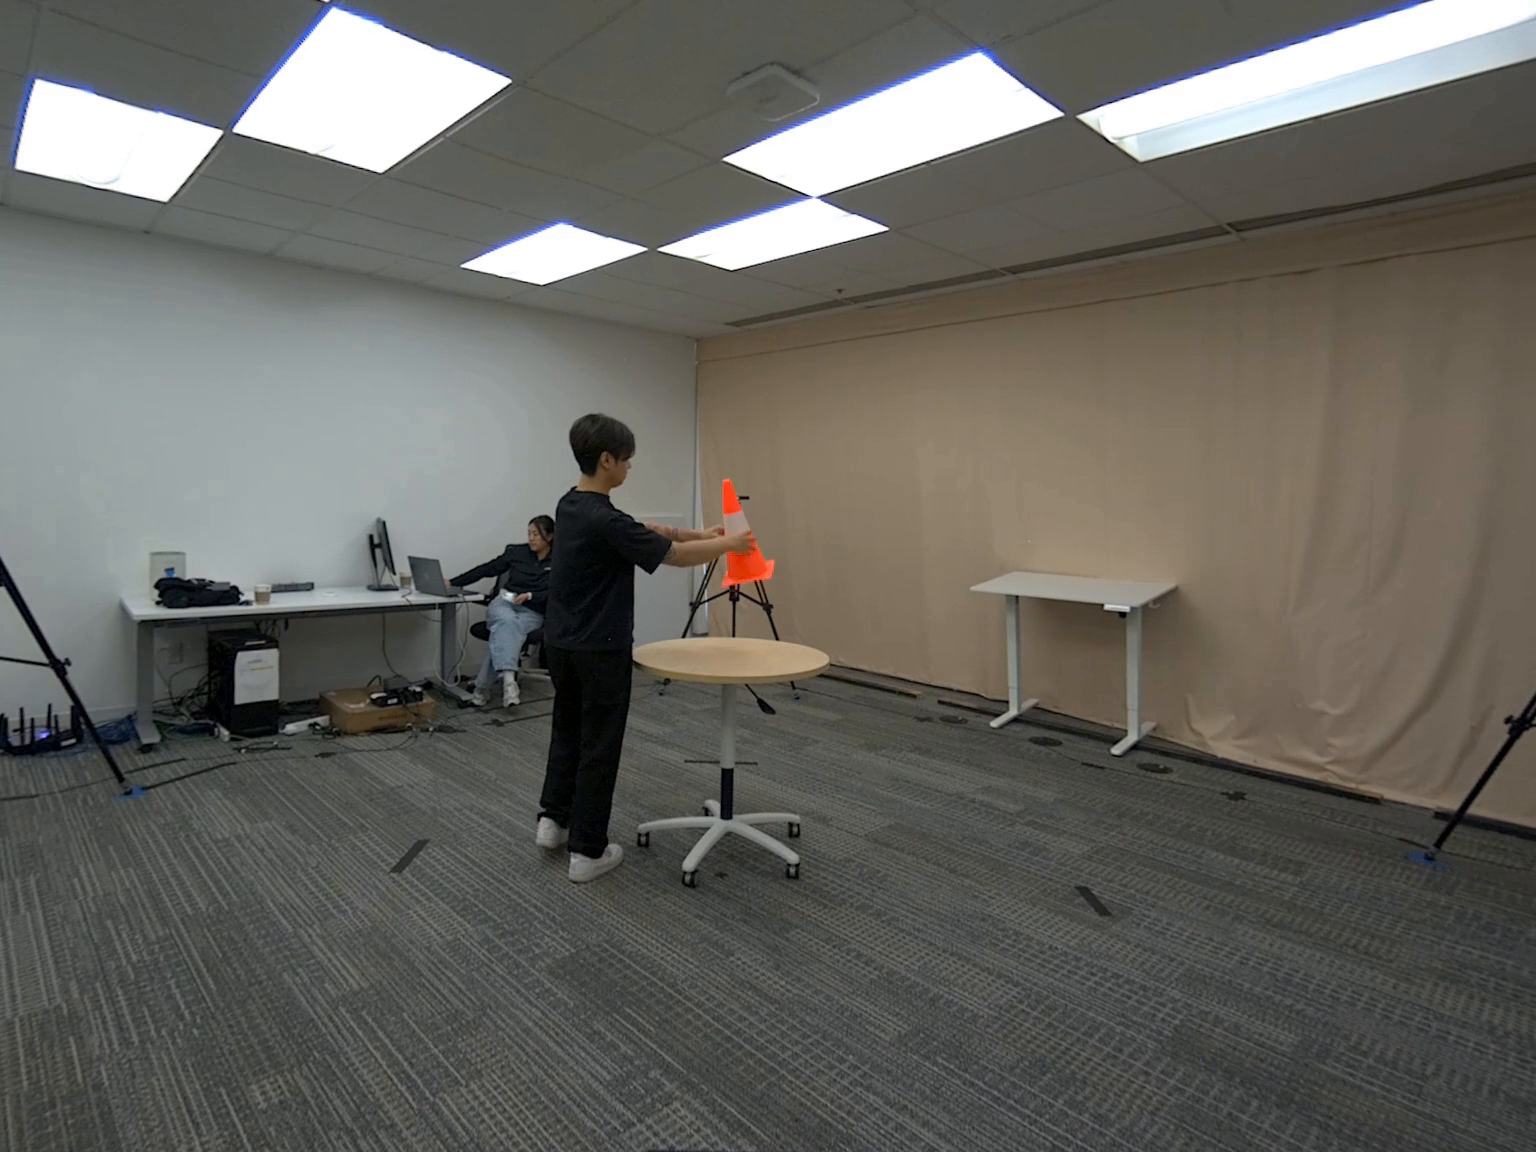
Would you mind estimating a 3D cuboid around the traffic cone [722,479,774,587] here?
[{"bbox_3d":[-0.138,-0.188,3.231,0.204,0.379,0.207,-9,14,3],"label":"traffic cone"}]
